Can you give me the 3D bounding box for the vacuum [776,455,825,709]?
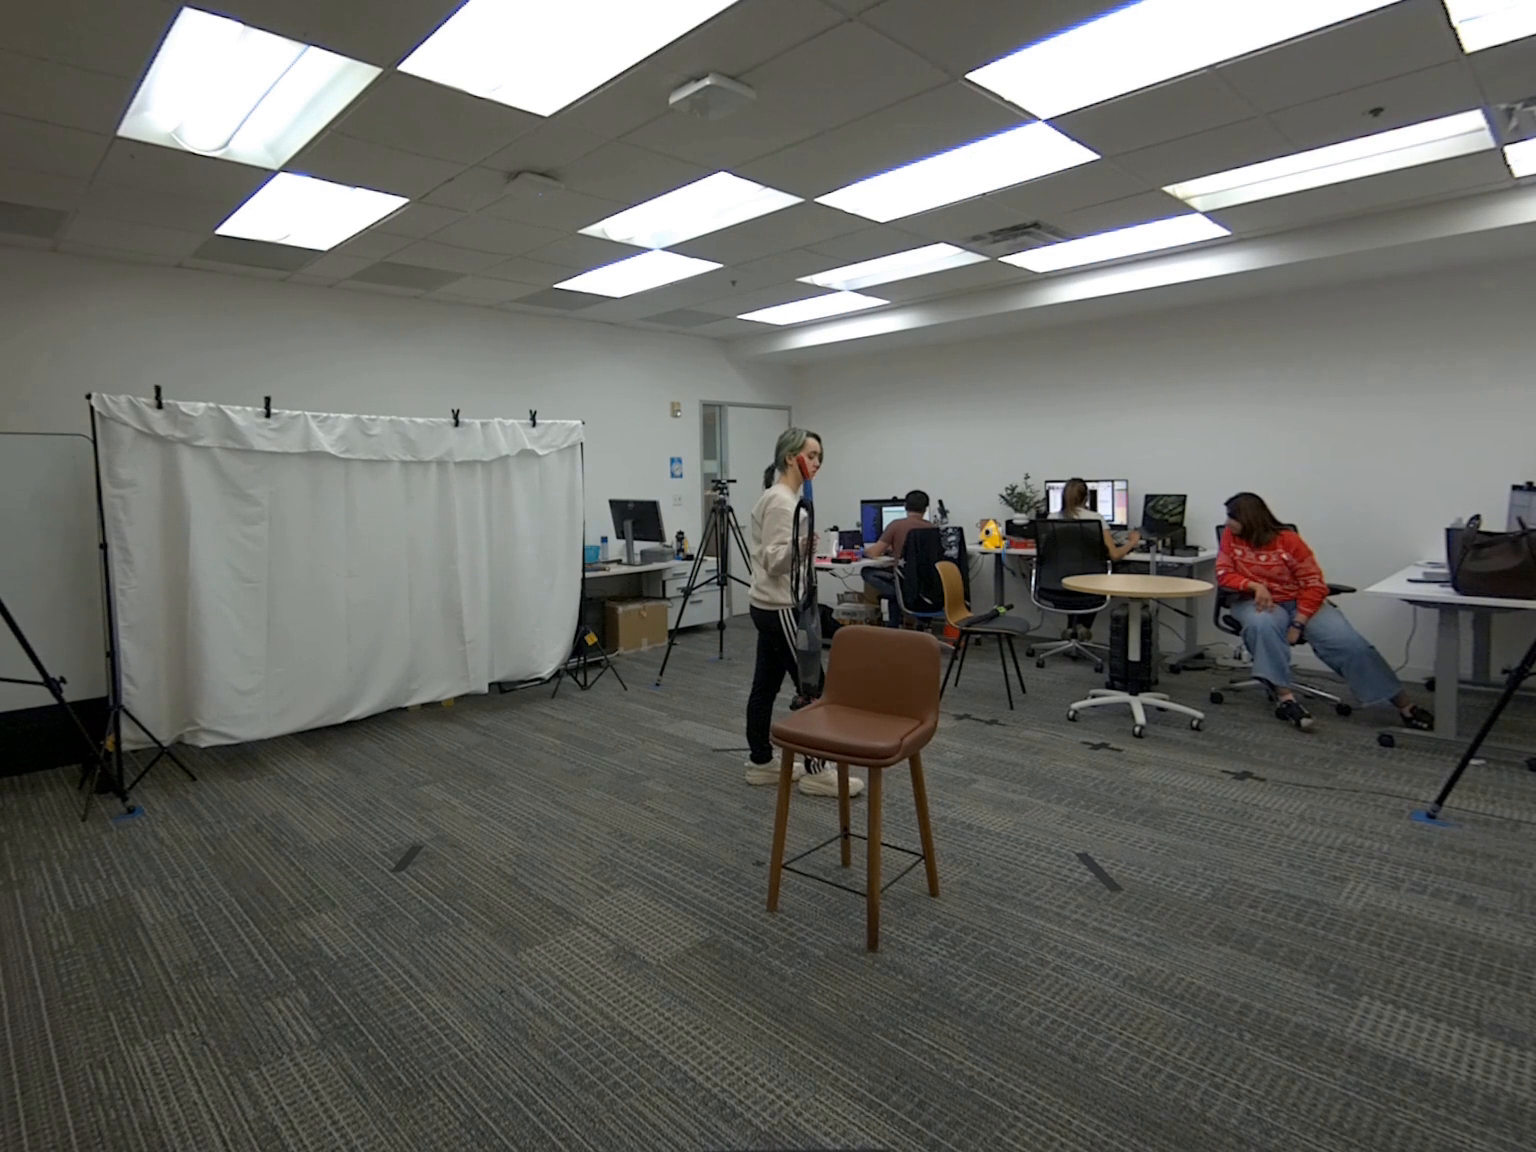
[{"bbox_3d":[0.152,0.047,3.449,0.260,1.039,0.141,2,12,34],"label":"vacuum"}]
